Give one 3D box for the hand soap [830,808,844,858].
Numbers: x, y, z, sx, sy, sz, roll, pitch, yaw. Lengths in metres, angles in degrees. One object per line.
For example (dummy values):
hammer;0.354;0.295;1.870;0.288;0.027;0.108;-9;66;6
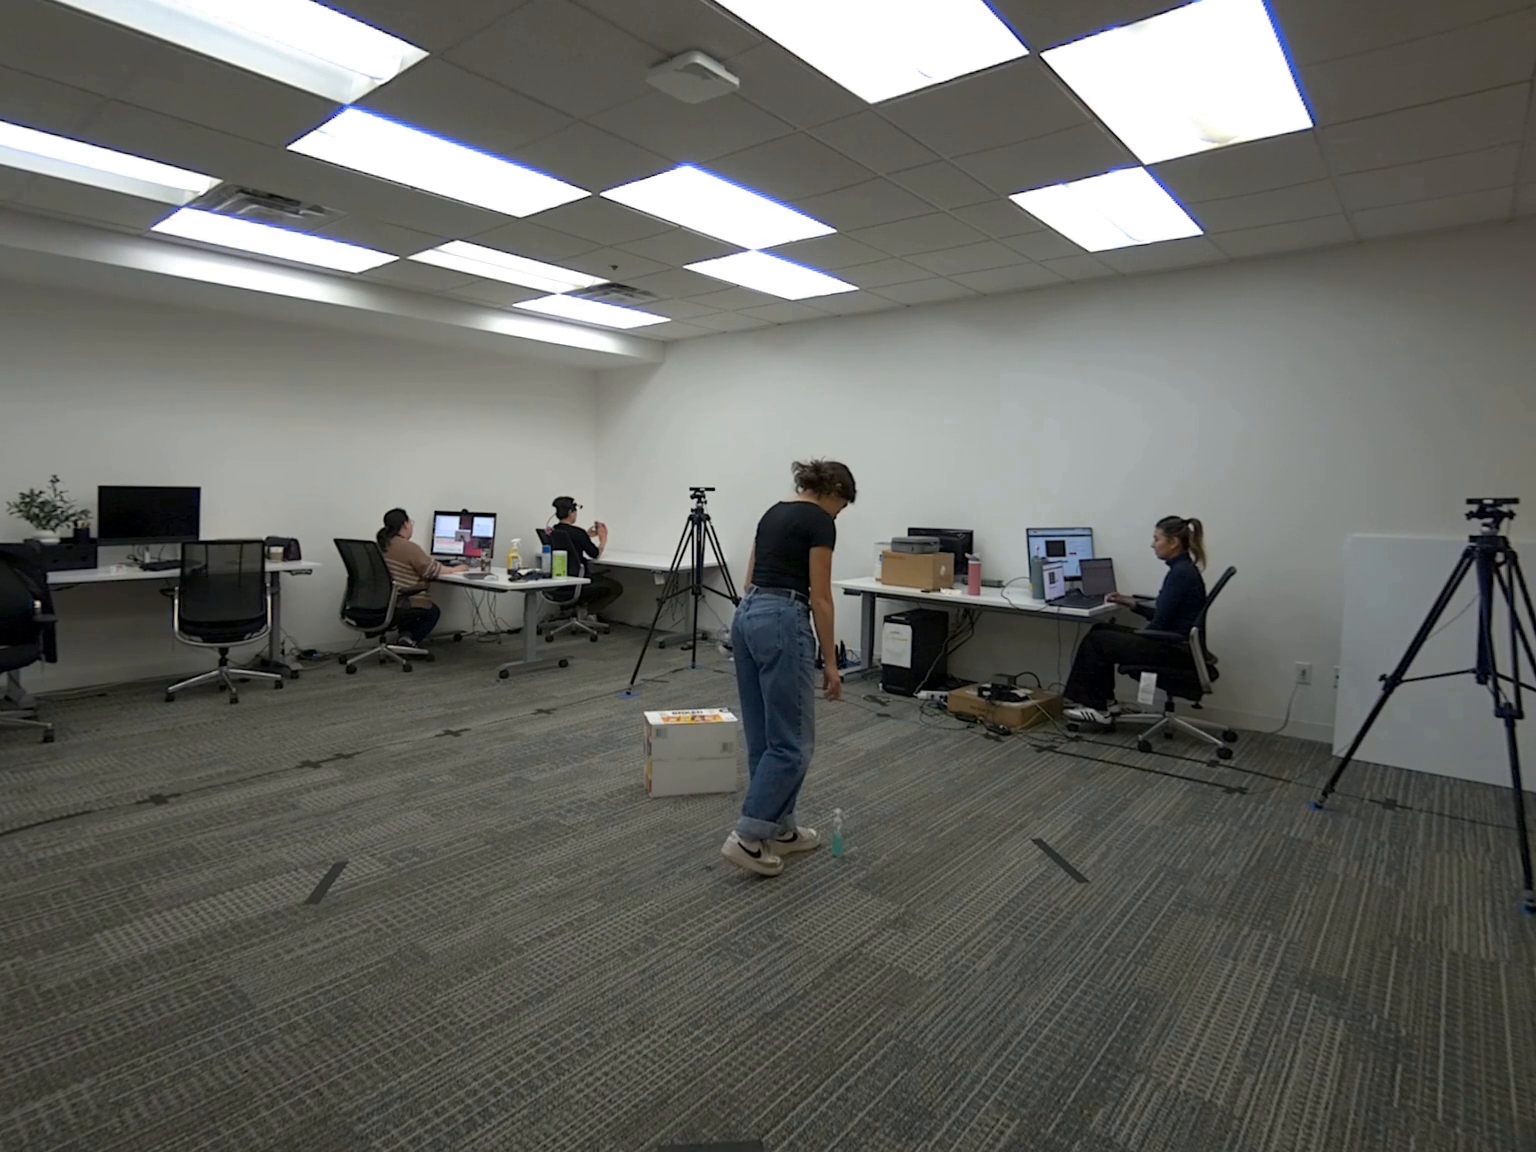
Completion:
hand soap;0.260;0.981;3.266;0.043;0.168;0.084;0;-1;3
